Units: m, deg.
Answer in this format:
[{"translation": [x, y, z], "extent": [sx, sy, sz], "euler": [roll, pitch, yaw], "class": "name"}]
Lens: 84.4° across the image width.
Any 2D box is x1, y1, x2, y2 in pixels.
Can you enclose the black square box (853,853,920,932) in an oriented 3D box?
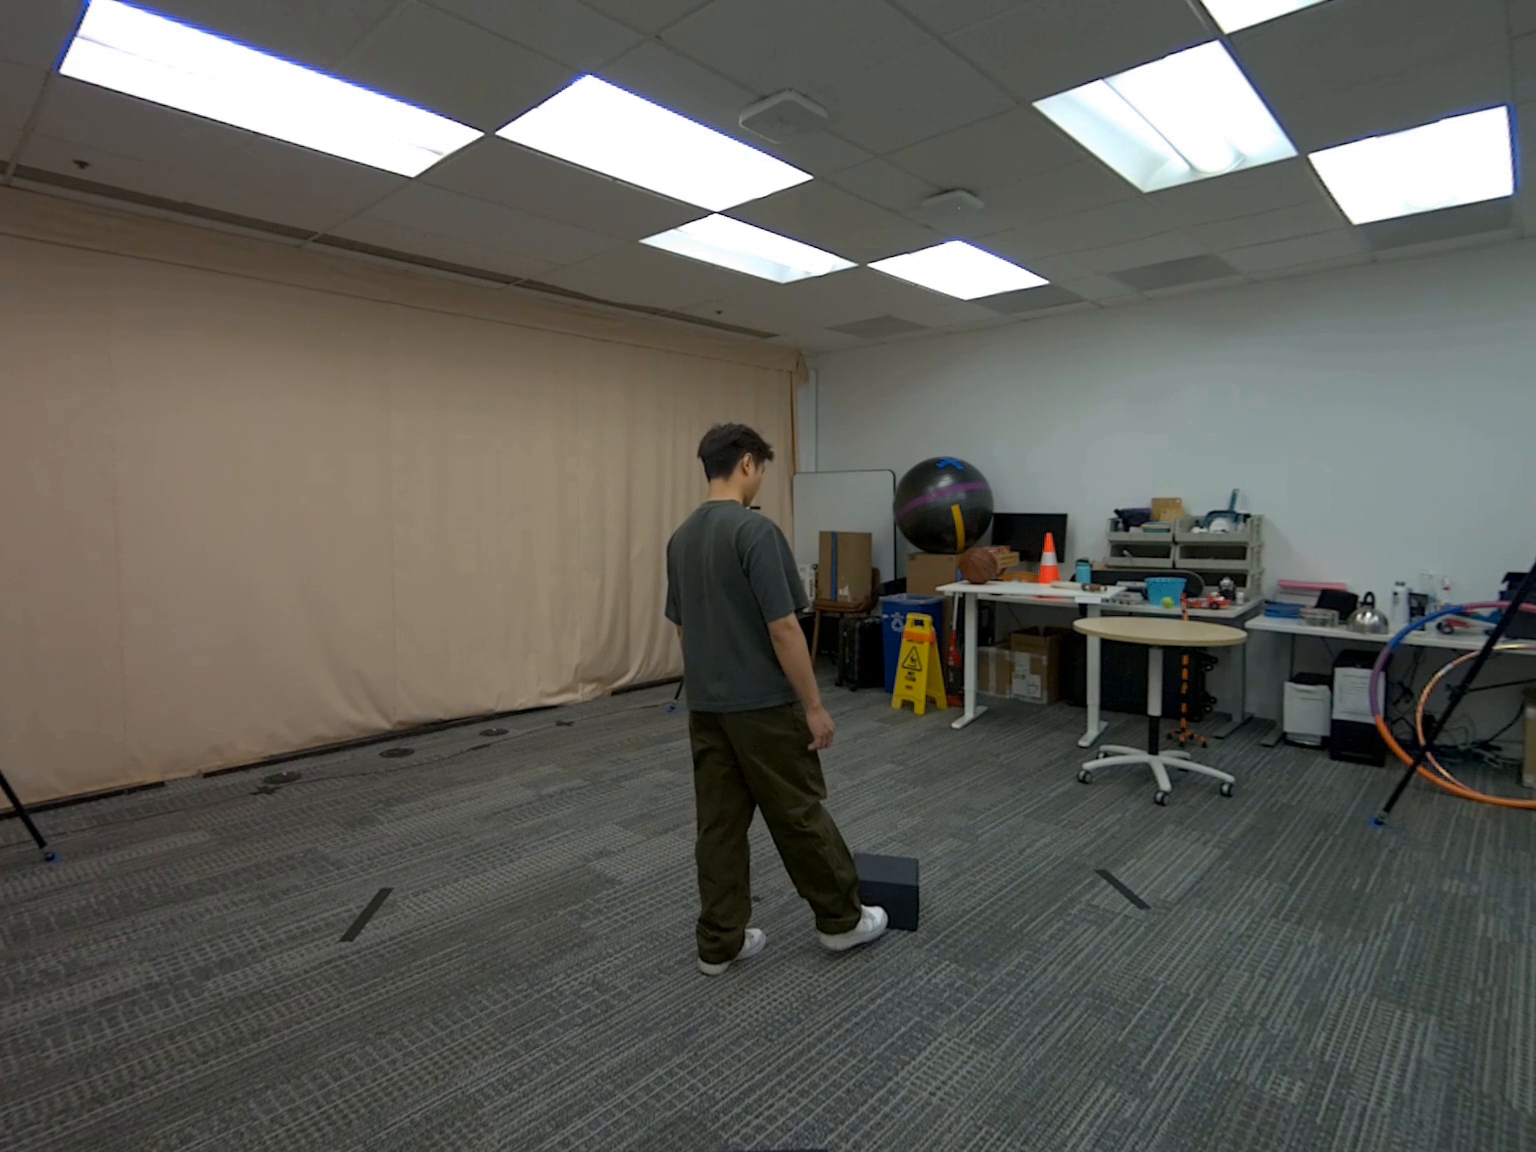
[{"translation": [0.403, 1.068, 2.872], "extent": [0.231, 0.155, 0.214], "euler": [1, 4, 12], "class": "black square box"}]
